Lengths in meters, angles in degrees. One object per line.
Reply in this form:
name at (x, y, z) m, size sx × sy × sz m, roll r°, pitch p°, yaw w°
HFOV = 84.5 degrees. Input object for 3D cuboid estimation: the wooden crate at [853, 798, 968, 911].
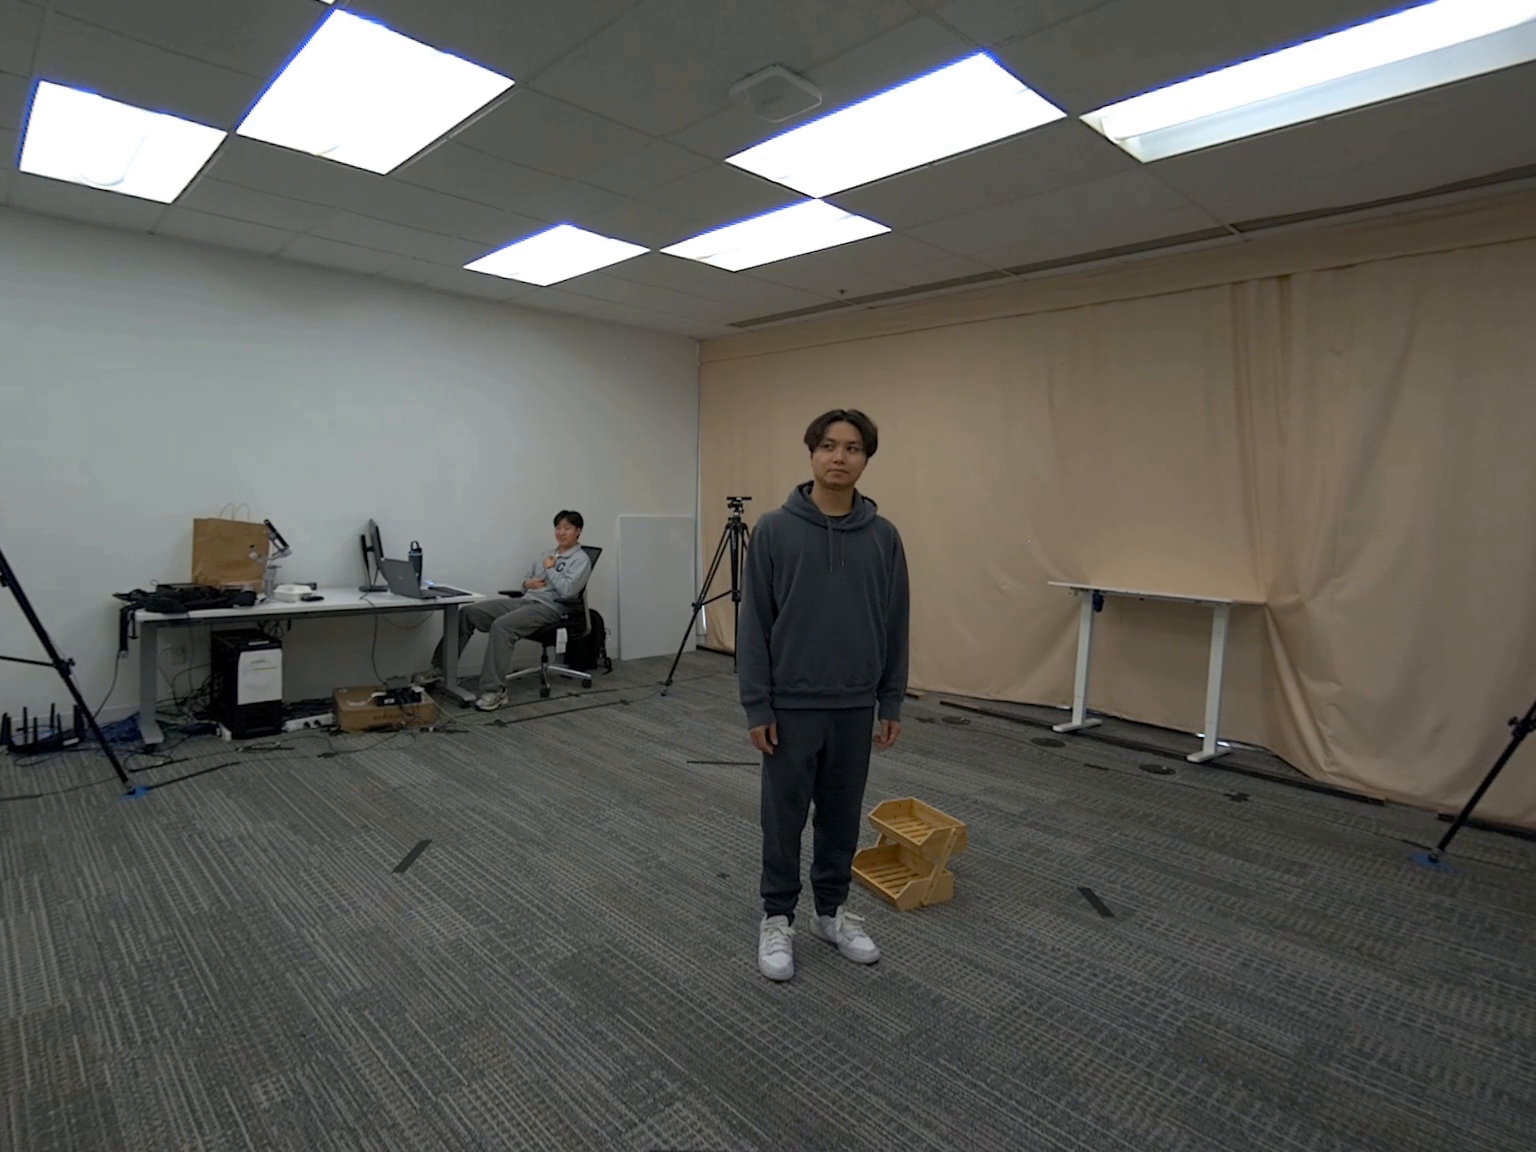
wooden crate at (0.491, 0.992, 3.047) m, size 0.296 × 0.273 × 0.332 m, roll 0°, pitch 4°, yaw -29°
